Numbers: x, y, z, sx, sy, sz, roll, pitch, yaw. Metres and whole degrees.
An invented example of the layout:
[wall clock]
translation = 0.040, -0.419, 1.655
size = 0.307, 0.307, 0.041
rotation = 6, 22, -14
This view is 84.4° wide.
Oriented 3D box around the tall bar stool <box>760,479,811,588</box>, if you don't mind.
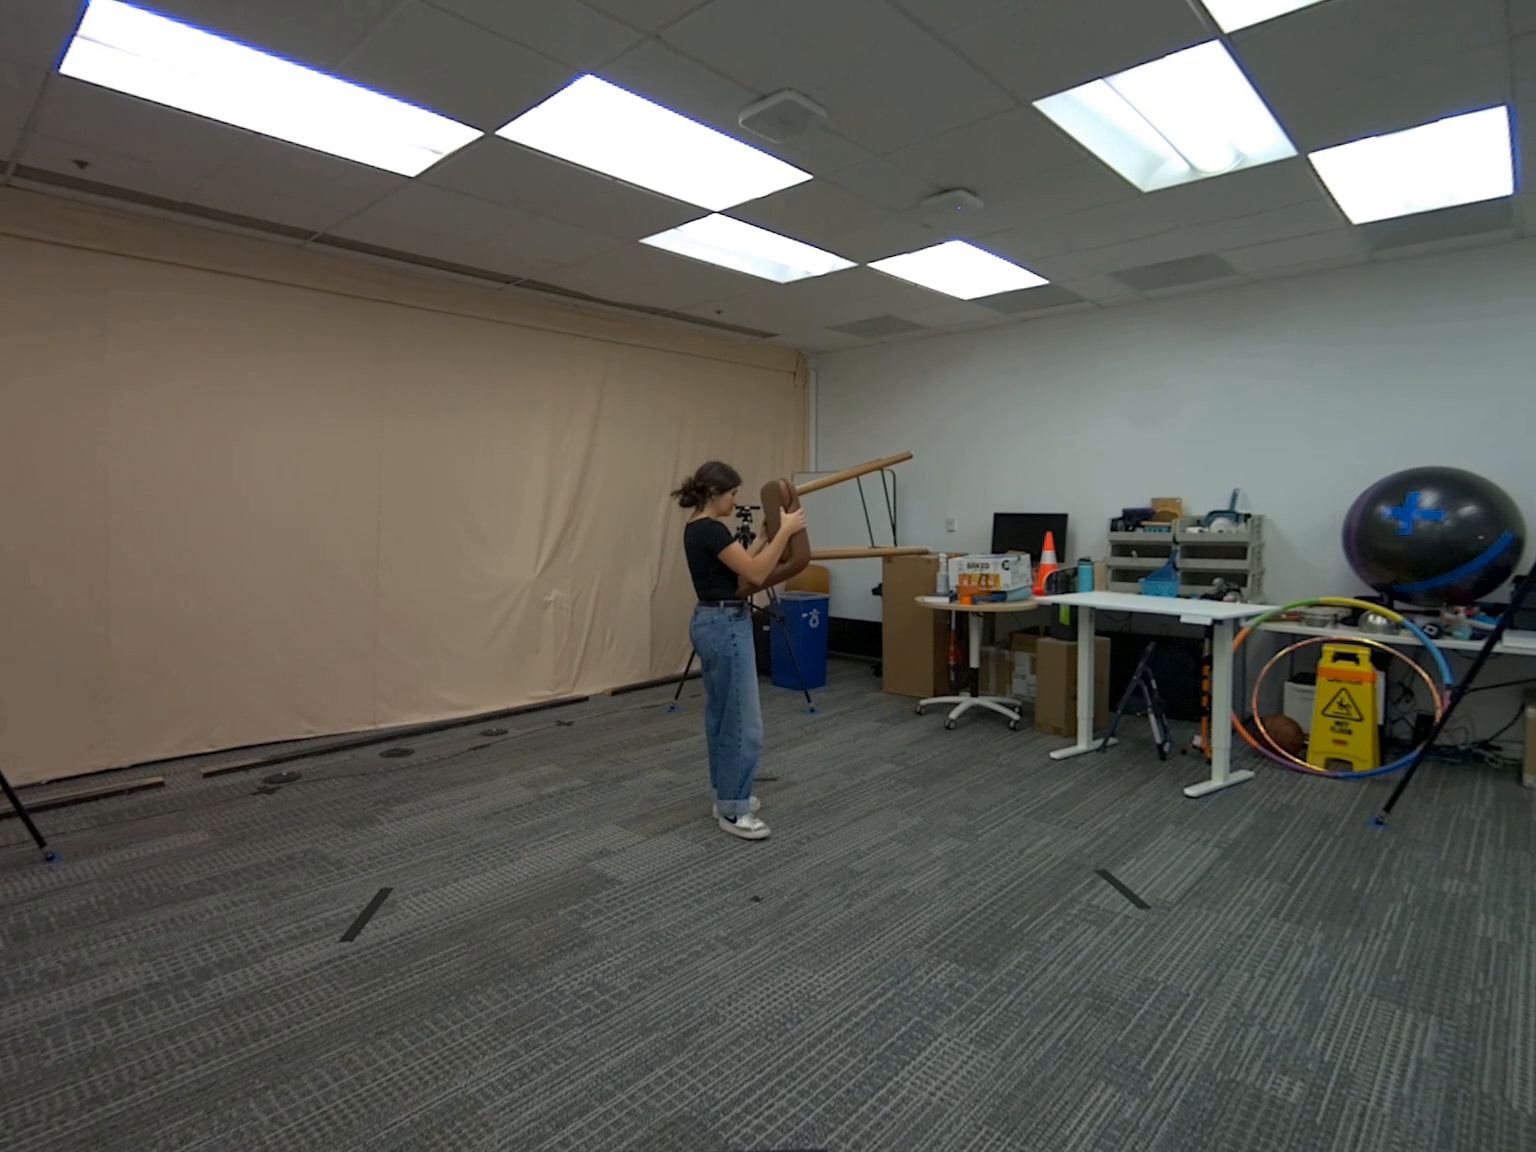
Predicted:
[tall bar stool]
translation = 0.213, -0.230, 3.770
size = 0.882, 0.466, 0.462
rotation = -14, 5, -10
